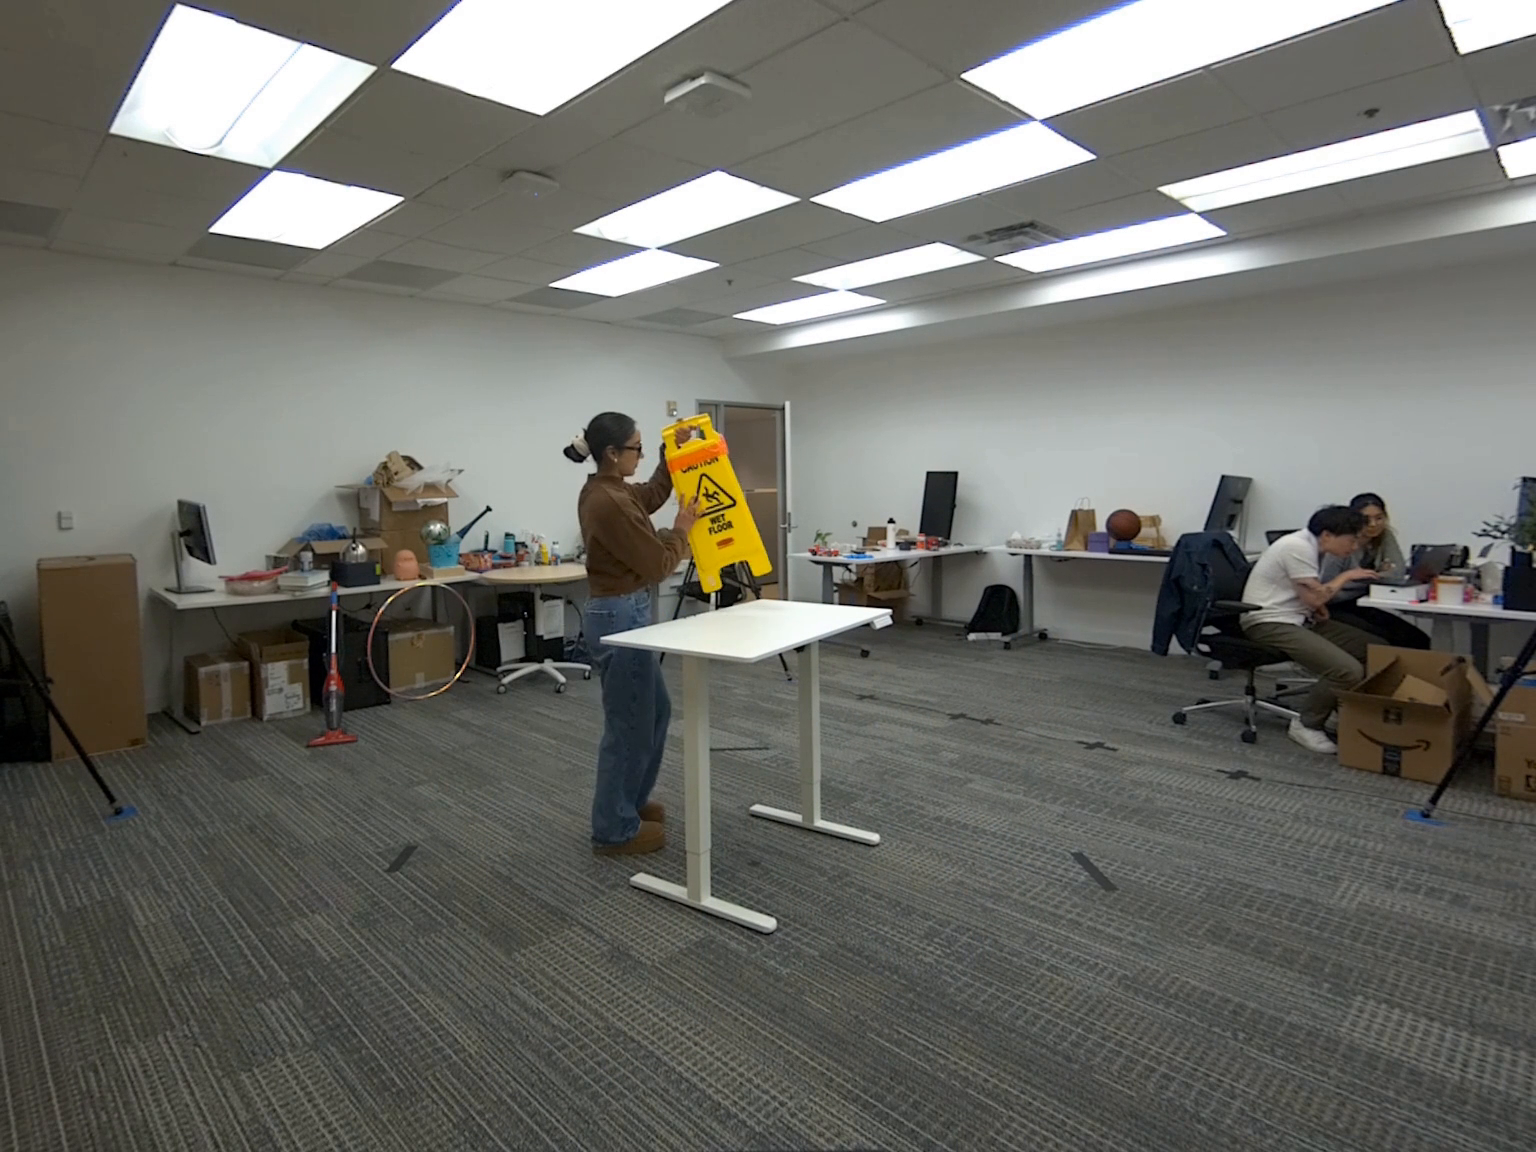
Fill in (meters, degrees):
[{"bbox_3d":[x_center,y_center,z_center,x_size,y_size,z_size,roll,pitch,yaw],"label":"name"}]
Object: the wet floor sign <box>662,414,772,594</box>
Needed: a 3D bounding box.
[{"bbox_3d":[-0.227,-0.297,3.367,0.283,0.639,0.292,-17,10,2],"label":"wet floor sign"}]
